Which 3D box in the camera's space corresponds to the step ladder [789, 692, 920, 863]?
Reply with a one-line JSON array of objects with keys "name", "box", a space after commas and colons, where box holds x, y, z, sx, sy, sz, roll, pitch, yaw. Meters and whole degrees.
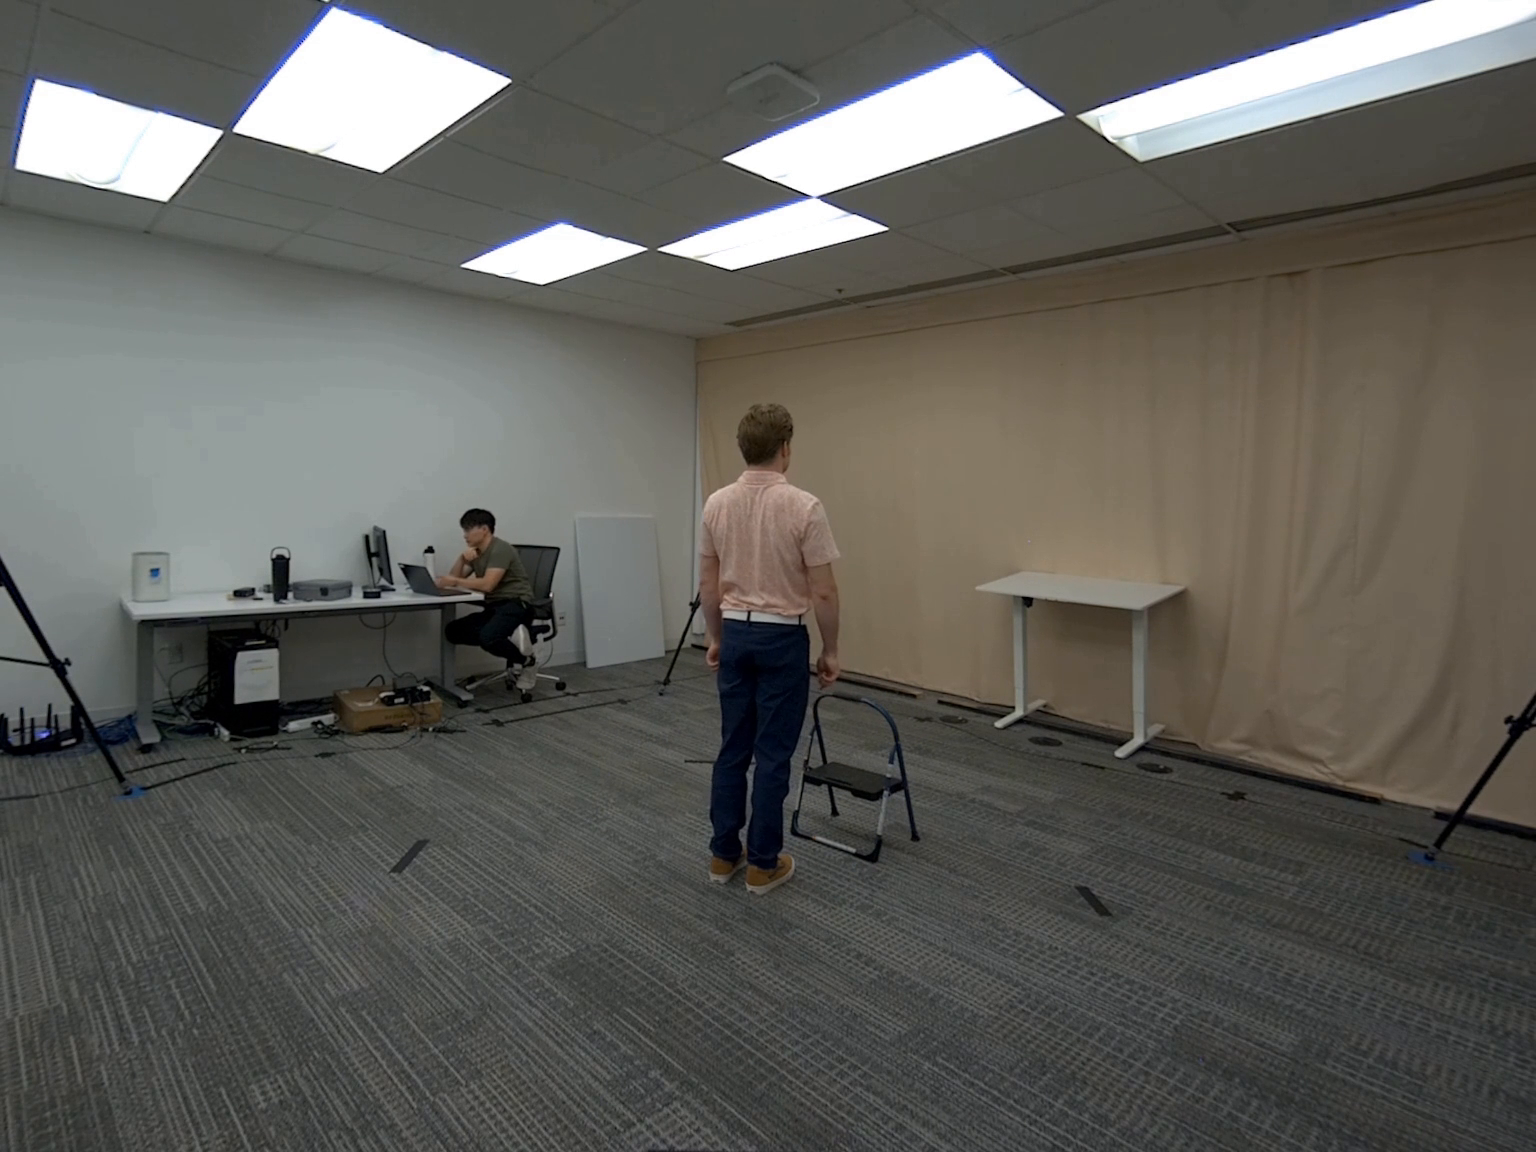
[{"name": "step ladder", "box": [0.359, 0.780, 3.483, 0.441, 0.605, 0.341, 4, 3, 39]}]
